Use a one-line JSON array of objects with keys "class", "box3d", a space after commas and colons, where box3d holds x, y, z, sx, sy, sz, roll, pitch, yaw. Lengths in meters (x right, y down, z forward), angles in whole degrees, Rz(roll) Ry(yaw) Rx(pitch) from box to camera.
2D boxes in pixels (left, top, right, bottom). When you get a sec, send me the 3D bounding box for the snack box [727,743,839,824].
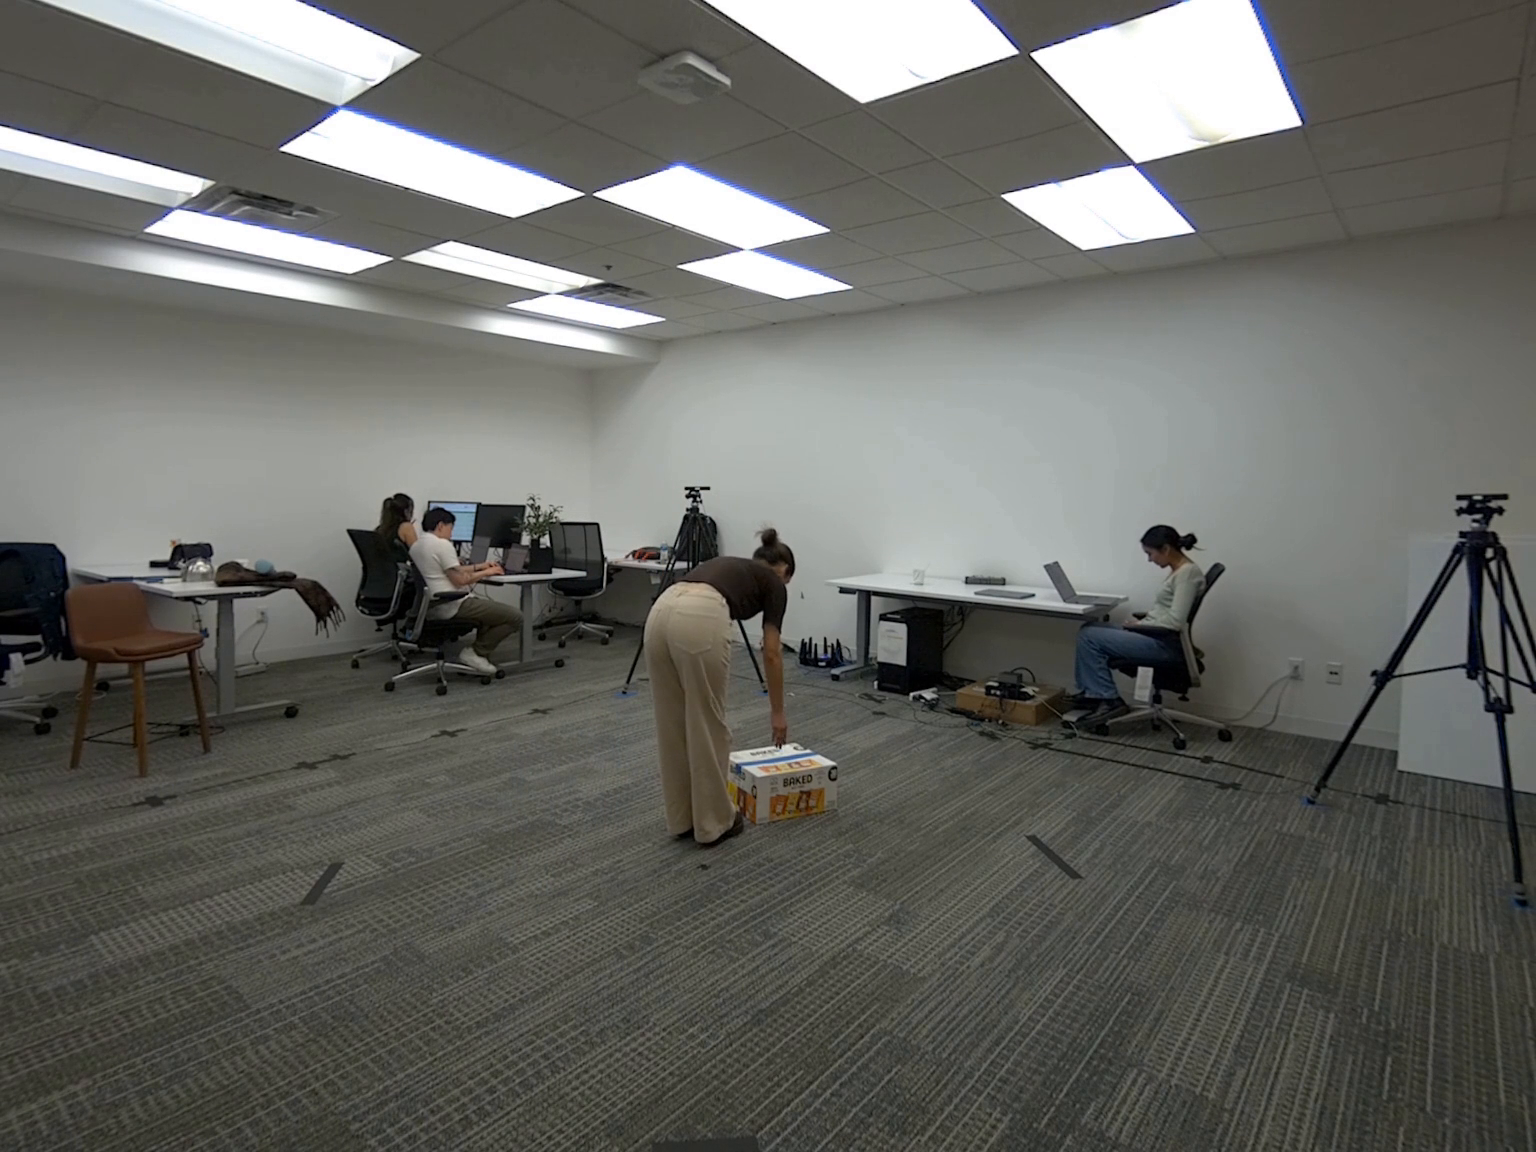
[{"class": "snack box", "box3d": [0.033, 0.904, 3.754, 0.395, 0.205, 0.350, -2, 6, -29]}]
